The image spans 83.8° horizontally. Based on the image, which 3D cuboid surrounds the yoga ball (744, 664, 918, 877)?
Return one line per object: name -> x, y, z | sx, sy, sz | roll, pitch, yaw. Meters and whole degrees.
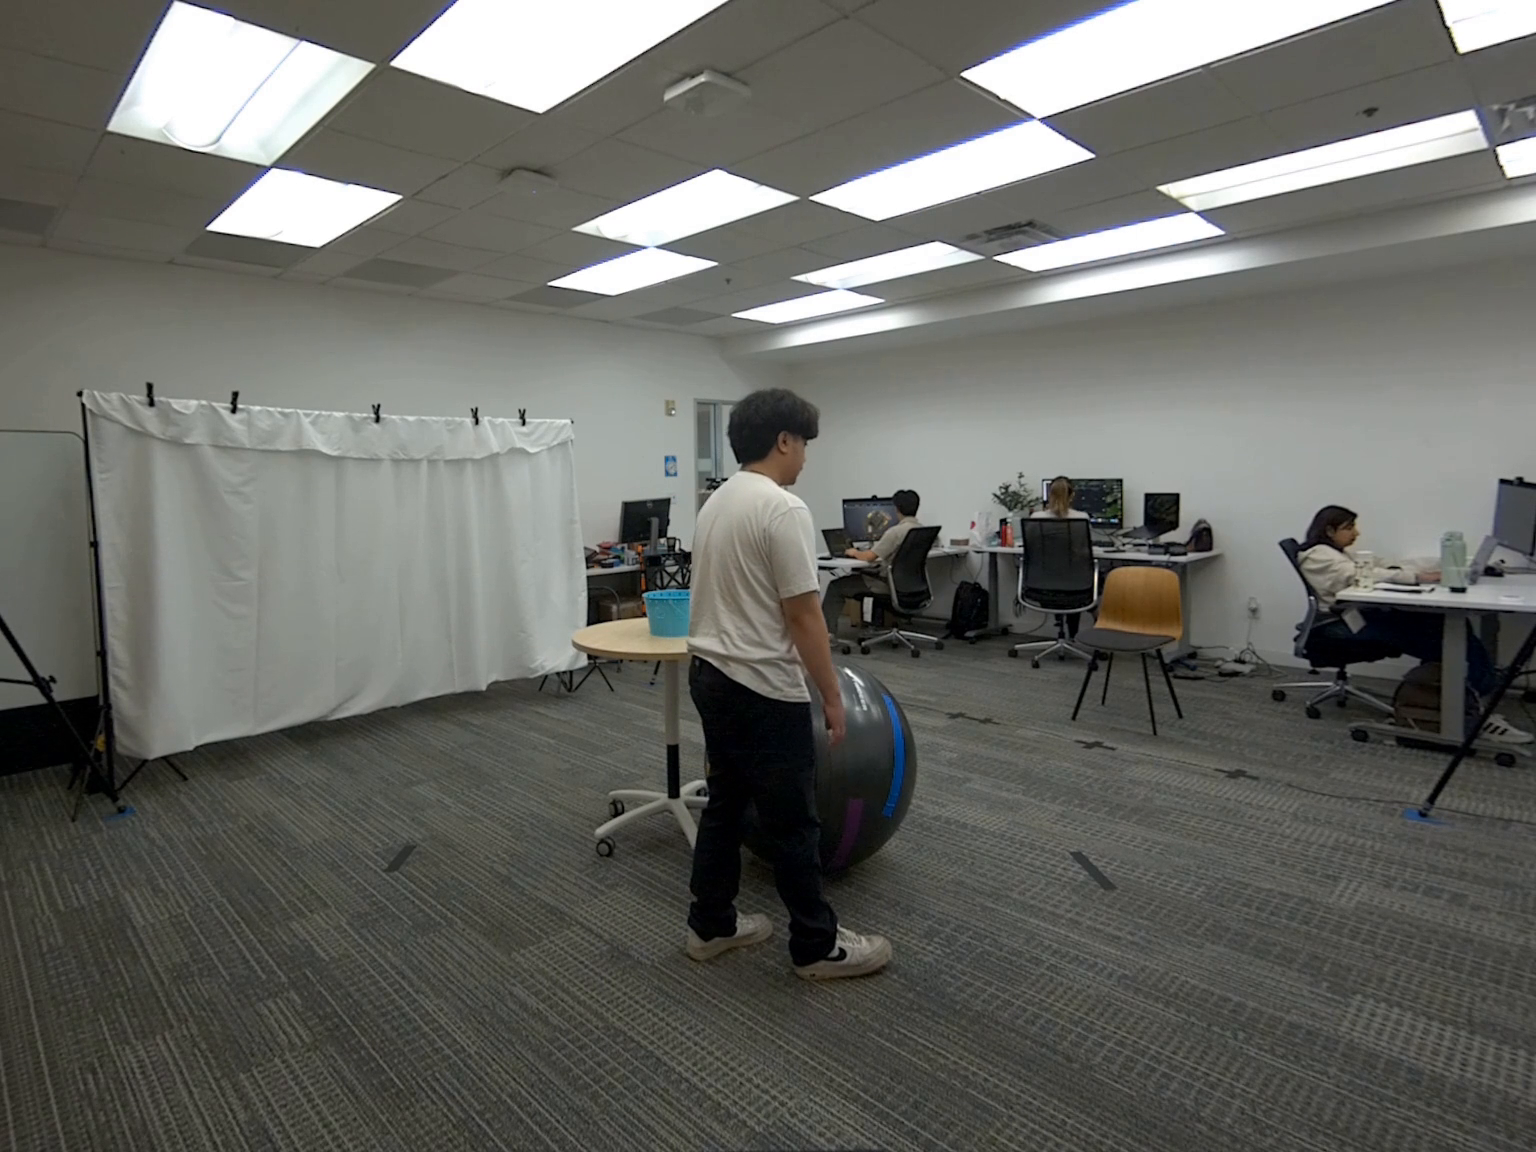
yoga ball -> 0.158, 0.672, 3.091 | 0.757, 0.755, 0.762 | -1, 5, -2
